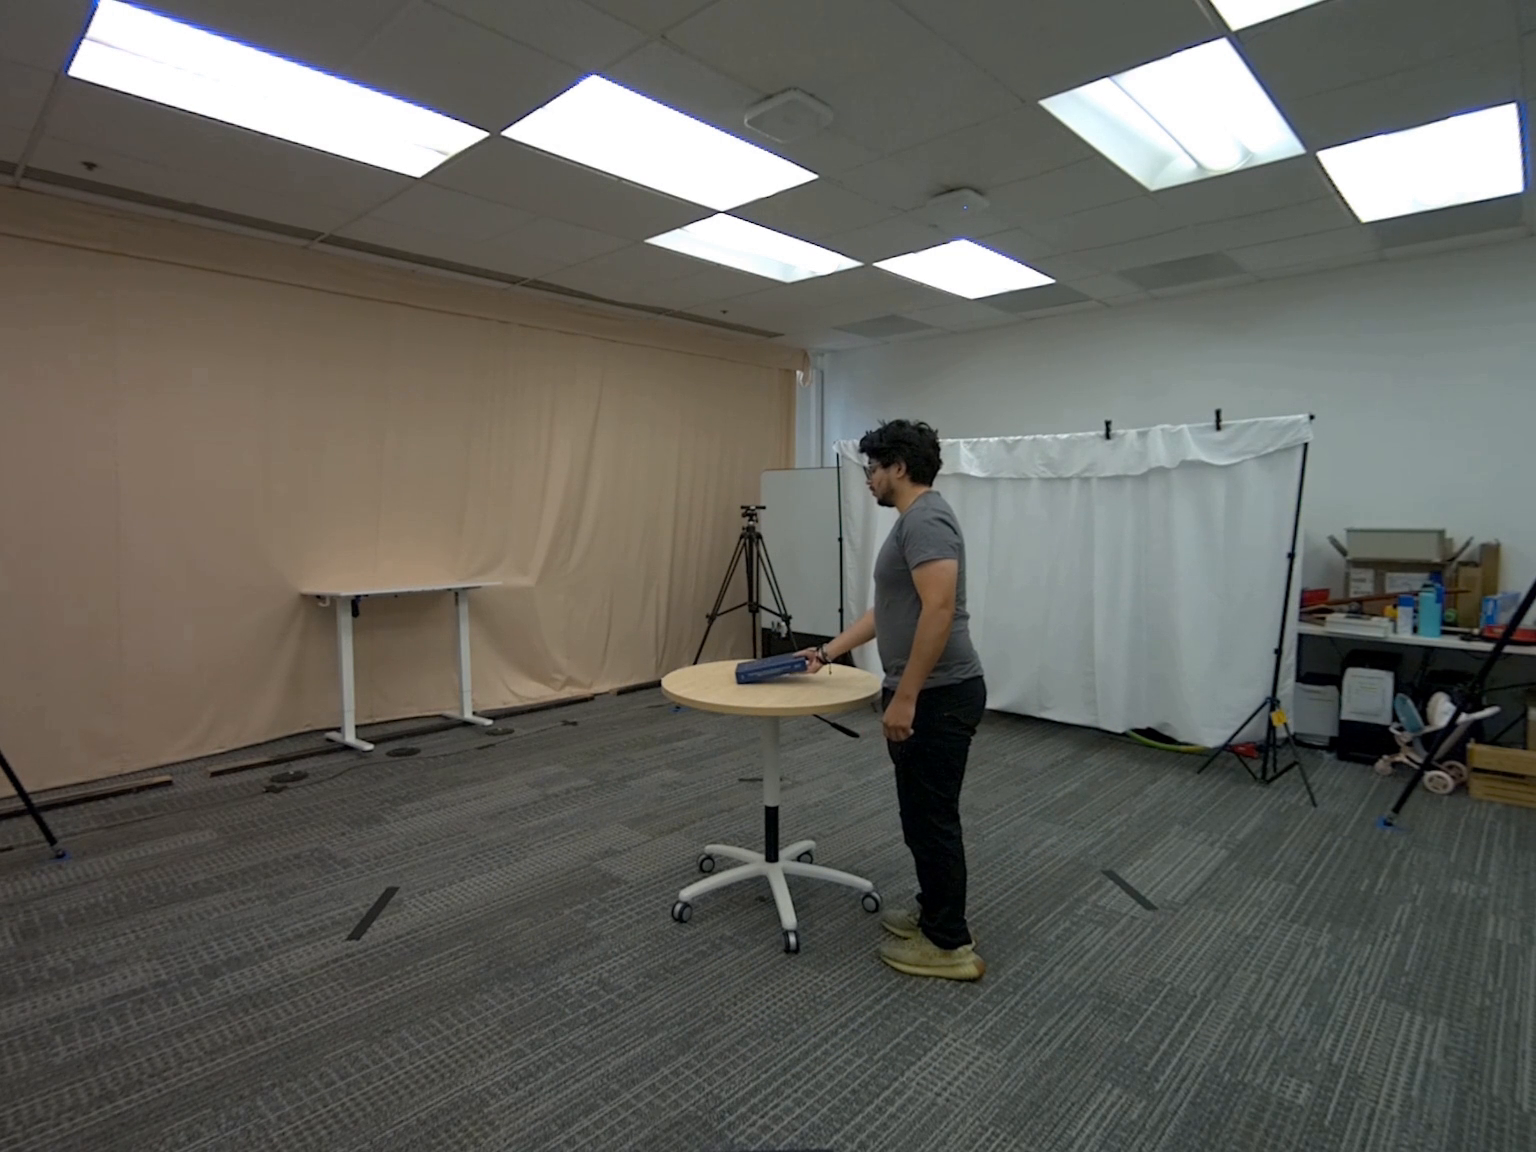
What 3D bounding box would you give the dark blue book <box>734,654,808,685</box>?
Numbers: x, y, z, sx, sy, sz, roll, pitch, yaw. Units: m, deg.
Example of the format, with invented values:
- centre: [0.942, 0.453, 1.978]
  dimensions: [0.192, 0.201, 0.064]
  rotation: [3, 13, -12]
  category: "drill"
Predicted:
- centre: [0.007, 0.323, 2.935]
  dimensions: [0.246, 0.045, 0.163]
  rotation: [-11, 5, 3]
  category: "dark blue book"
